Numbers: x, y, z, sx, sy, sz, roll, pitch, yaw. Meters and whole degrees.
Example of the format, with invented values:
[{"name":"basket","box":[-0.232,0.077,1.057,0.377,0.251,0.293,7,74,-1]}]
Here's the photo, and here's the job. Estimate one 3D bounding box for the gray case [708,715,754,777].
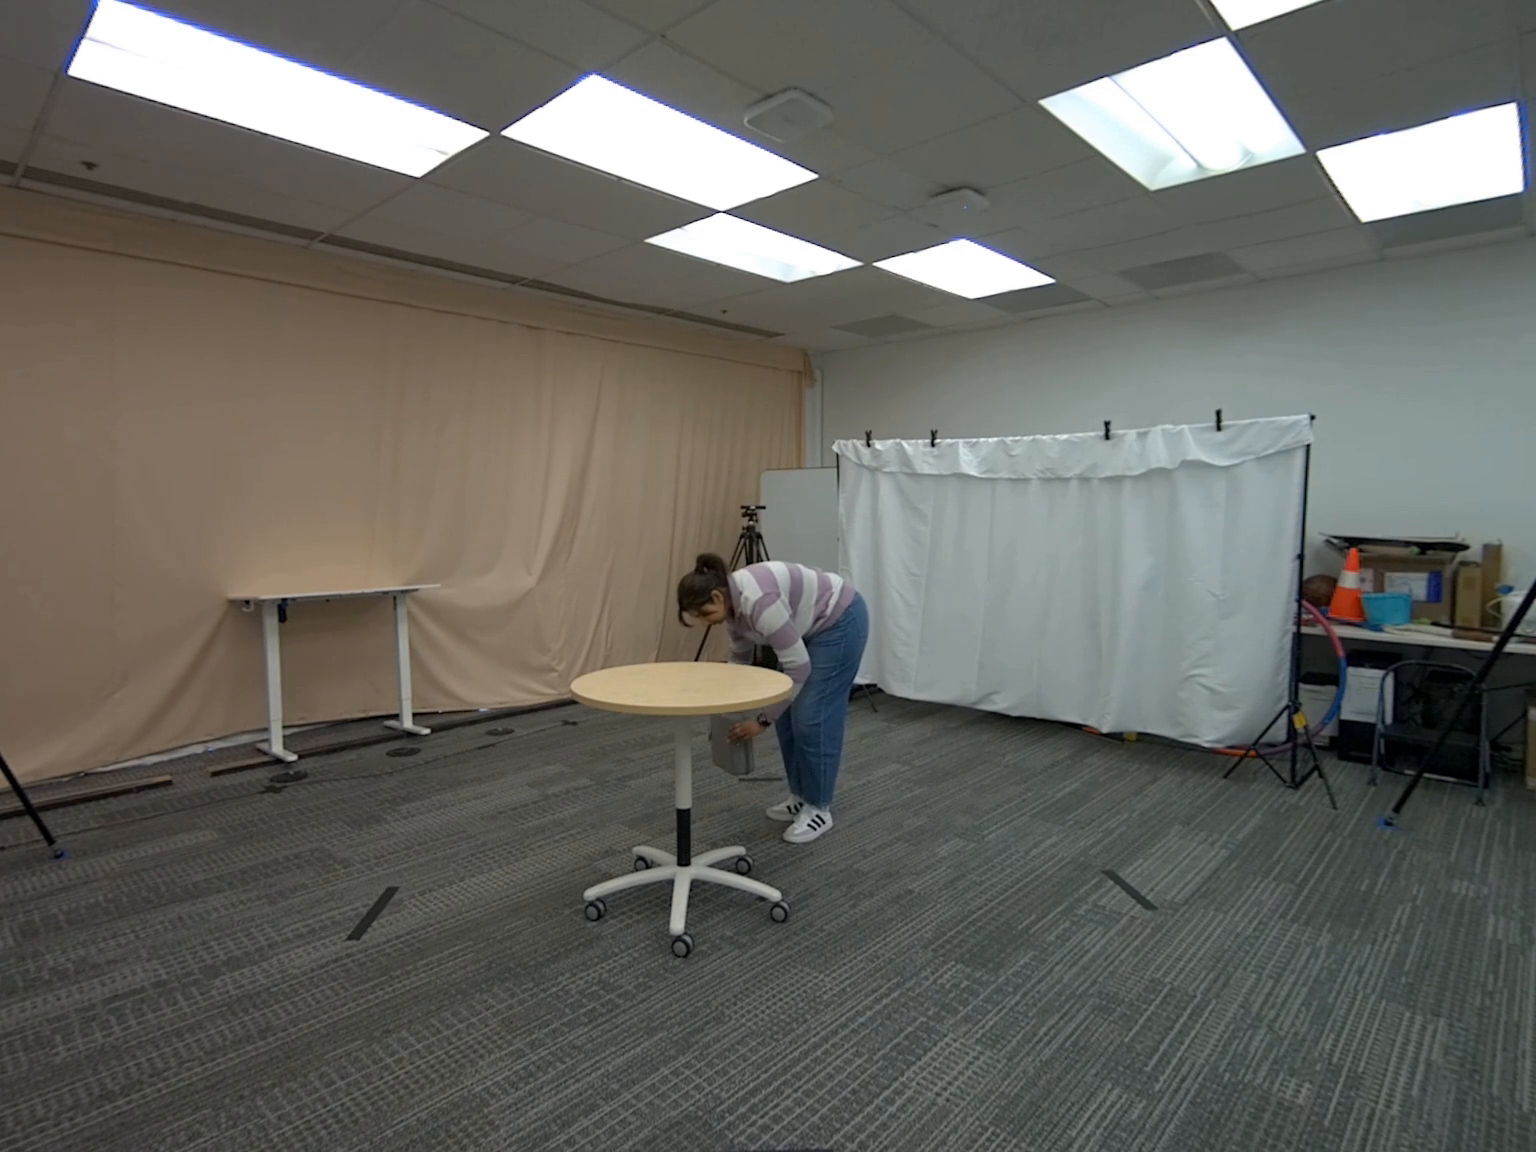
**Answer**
[{"name":"gray case","box":[-0.153,0.692,3.557,0.102,0.261,0.262,-3,-1,-24]}]
